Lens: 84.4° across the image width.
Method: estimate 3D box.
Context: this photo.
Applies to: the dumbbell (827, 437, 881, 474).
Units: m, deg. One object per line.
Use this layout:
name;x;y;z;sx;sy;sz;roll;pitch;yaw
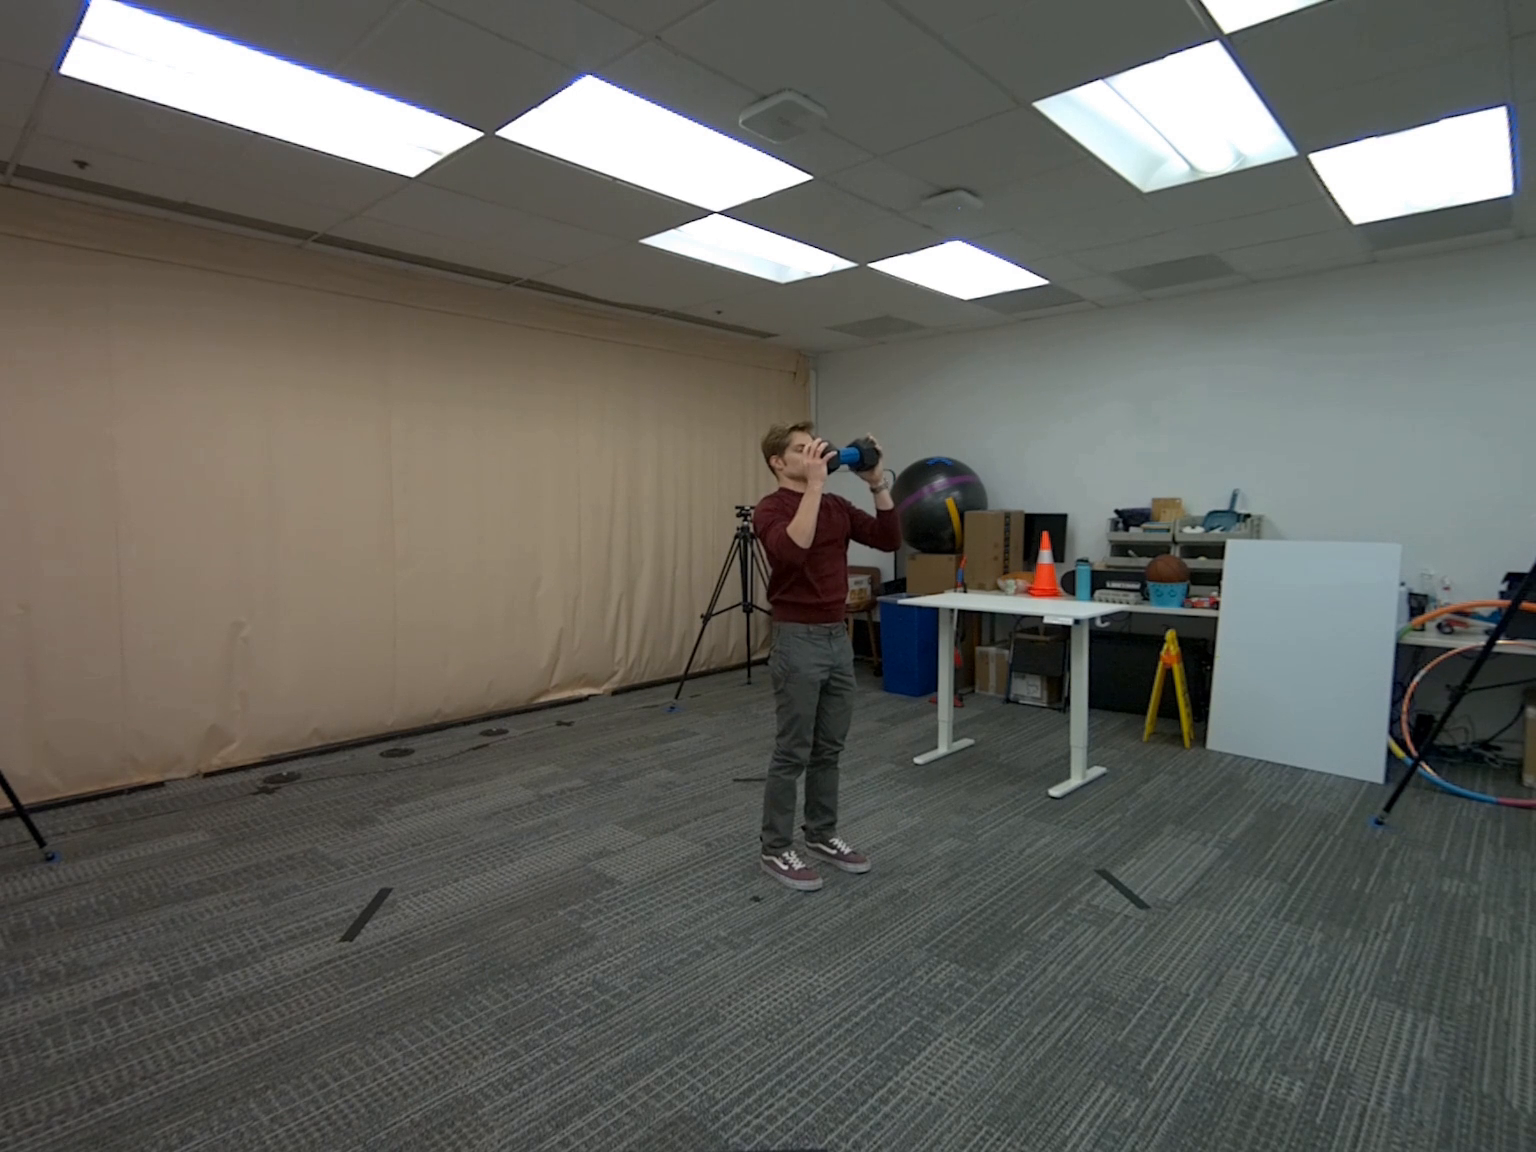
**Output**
dumbbell;0.269;-0.430;3.014;0.286;0.122;0.112;-13;16;-39
